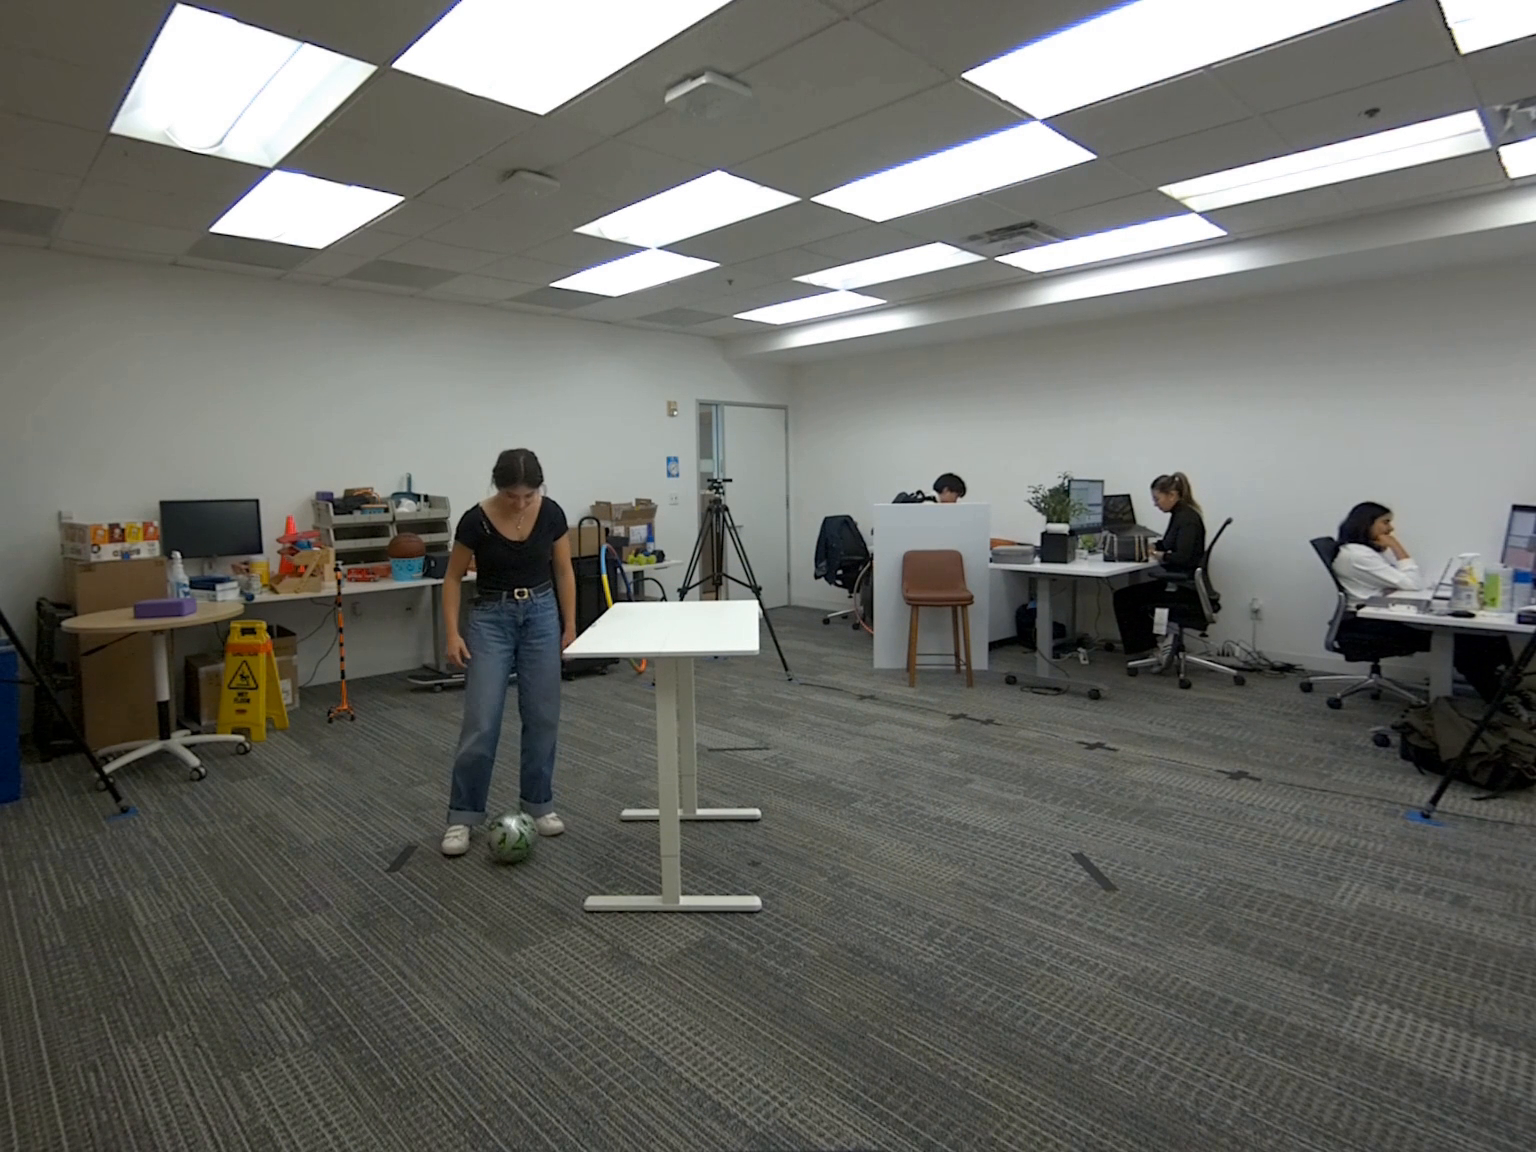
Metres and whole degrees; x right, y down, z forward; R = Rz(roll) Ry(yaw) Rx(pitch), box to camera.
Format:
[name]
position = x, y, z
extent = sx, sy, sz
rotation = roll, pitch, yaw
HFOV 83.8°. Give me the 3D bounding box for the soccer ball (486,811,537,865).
[soccer ball]
position = -0.945, 0.971, 3.167
extent = 0.187, 0.187, 0.188
rotation = -1, 5, -2
